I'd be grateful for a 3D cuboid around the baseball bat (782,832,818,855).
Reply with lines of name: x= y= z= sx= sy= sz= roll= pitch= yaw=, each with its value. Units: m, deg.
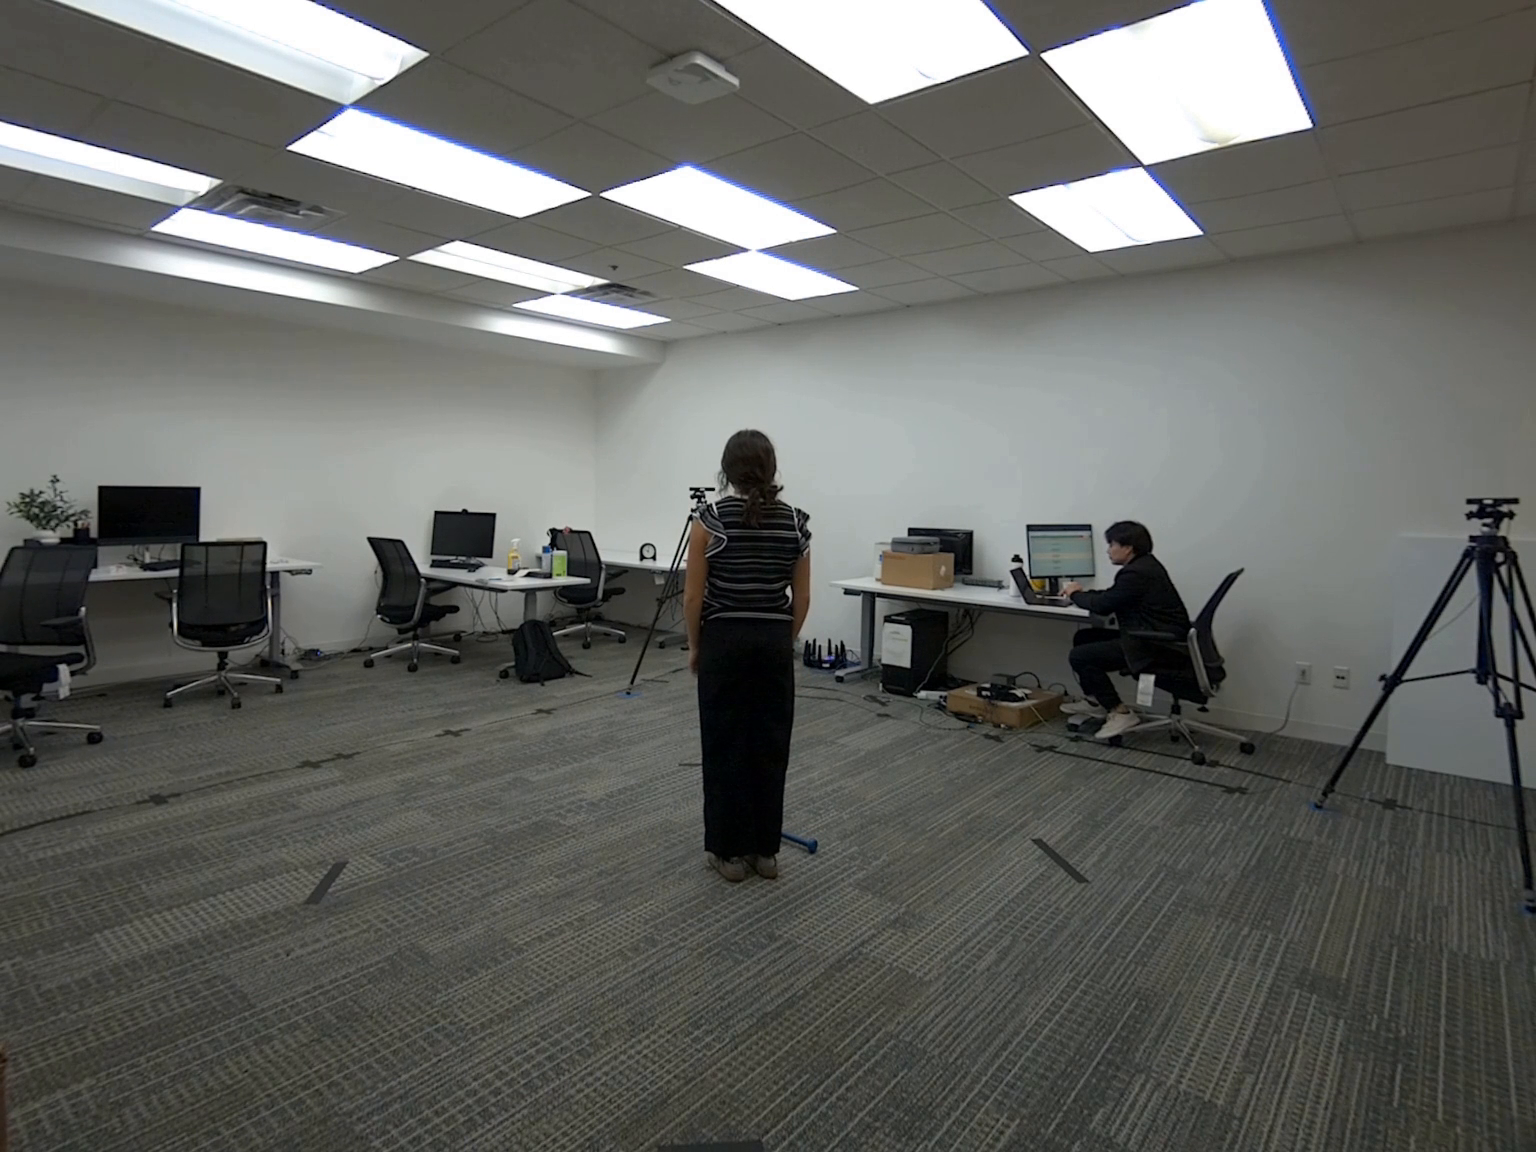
baseball bat: x=-0.033 y=1.002 z=3.440 sx=0.563 sy=0.088 sz=0.086 roll=10 pitch=9 yaw=40
